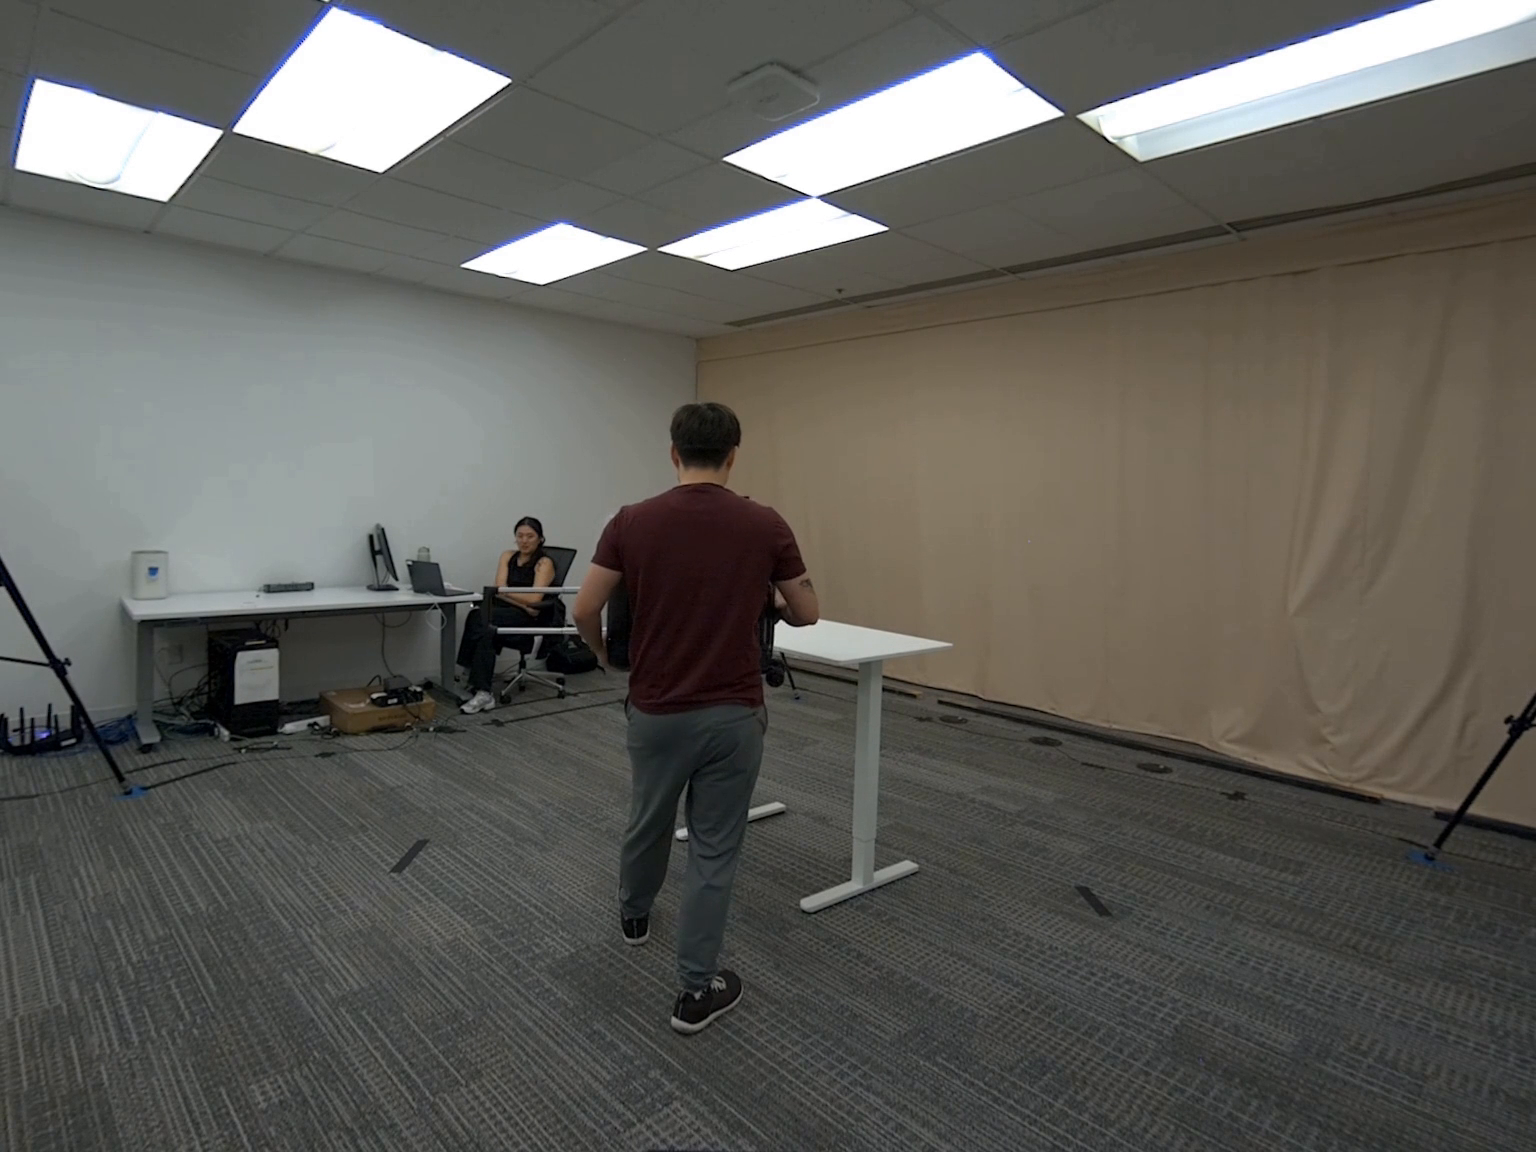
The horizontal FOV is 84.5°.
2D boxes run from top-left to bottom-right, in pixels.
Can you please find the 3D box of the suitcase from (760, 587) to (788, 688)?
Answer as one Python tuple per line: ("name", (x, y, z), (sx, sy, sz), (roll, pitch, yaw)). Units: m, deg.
("suitcase", (-0.433, 0.112, 2.586), (0.980, 0.384, 0.256), (3, -2, 2))
